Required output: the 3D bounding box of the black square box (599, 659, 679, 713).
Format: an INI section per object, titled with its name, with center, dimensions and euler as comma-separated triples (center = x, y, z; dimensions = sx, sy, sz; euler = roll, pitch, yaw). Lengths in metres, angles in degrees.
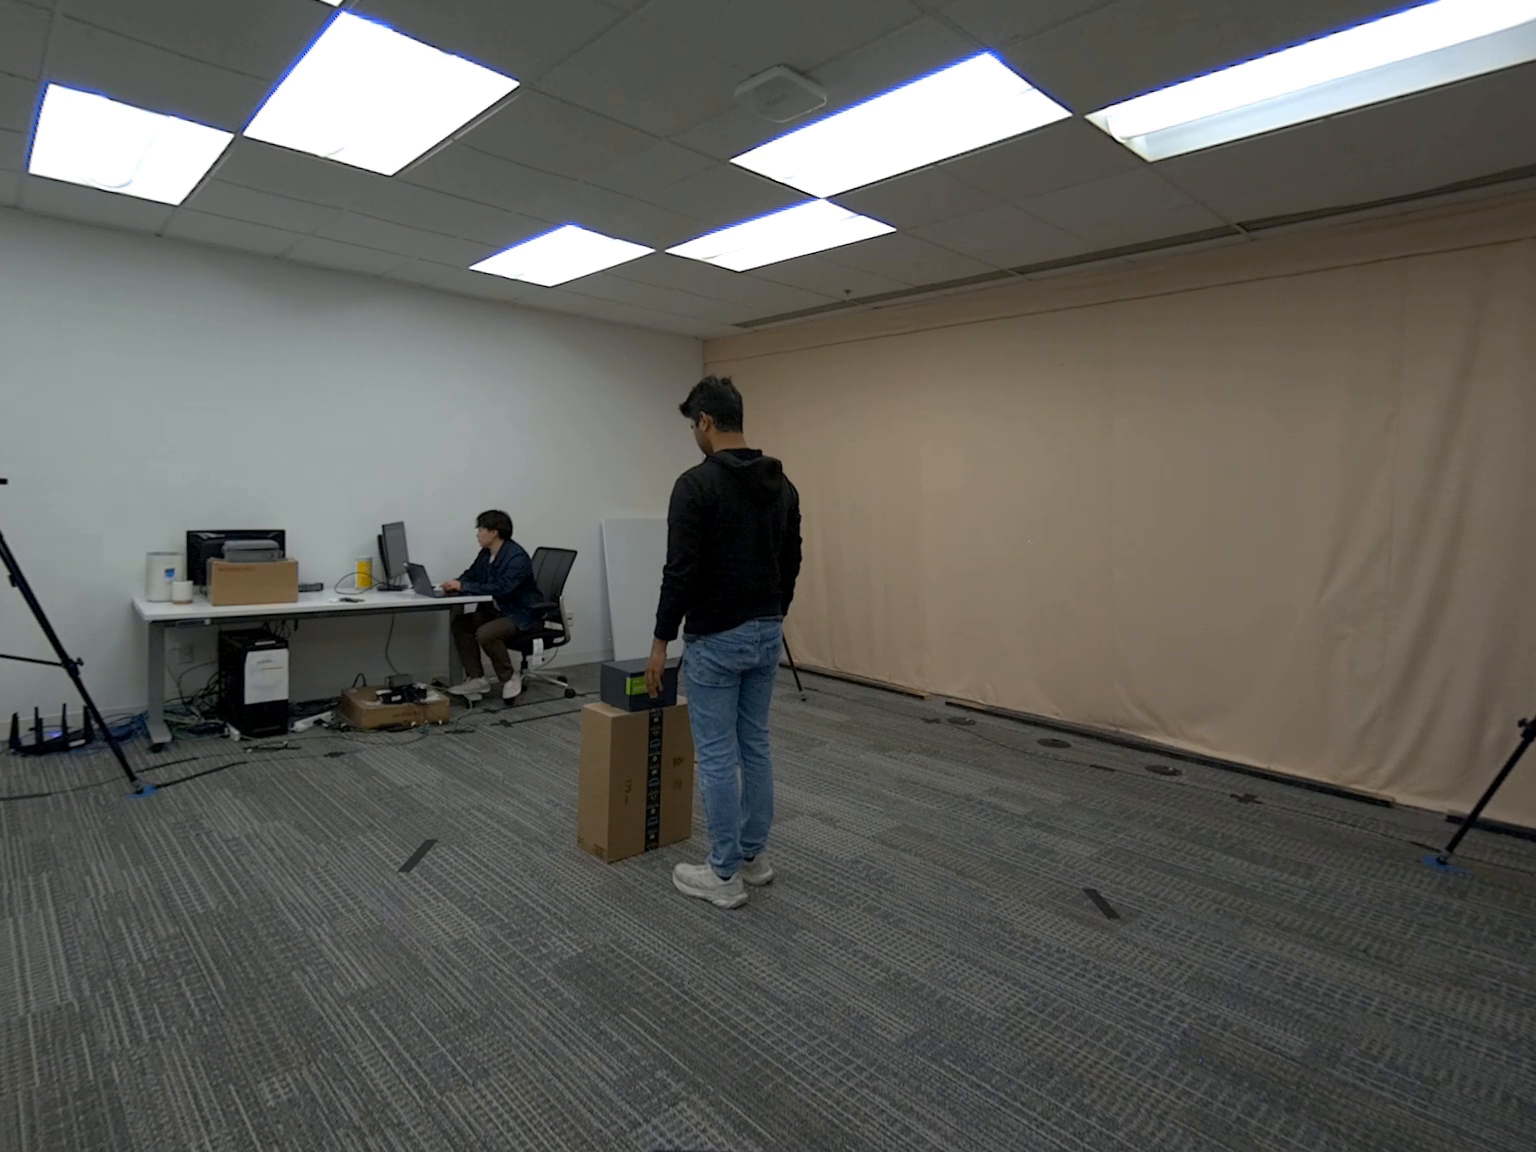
[black square box]
center = -0.519, 0.428, 3.364
dimensions = 0.223, 0.155, 0.223
euler = -3, 7, -43
